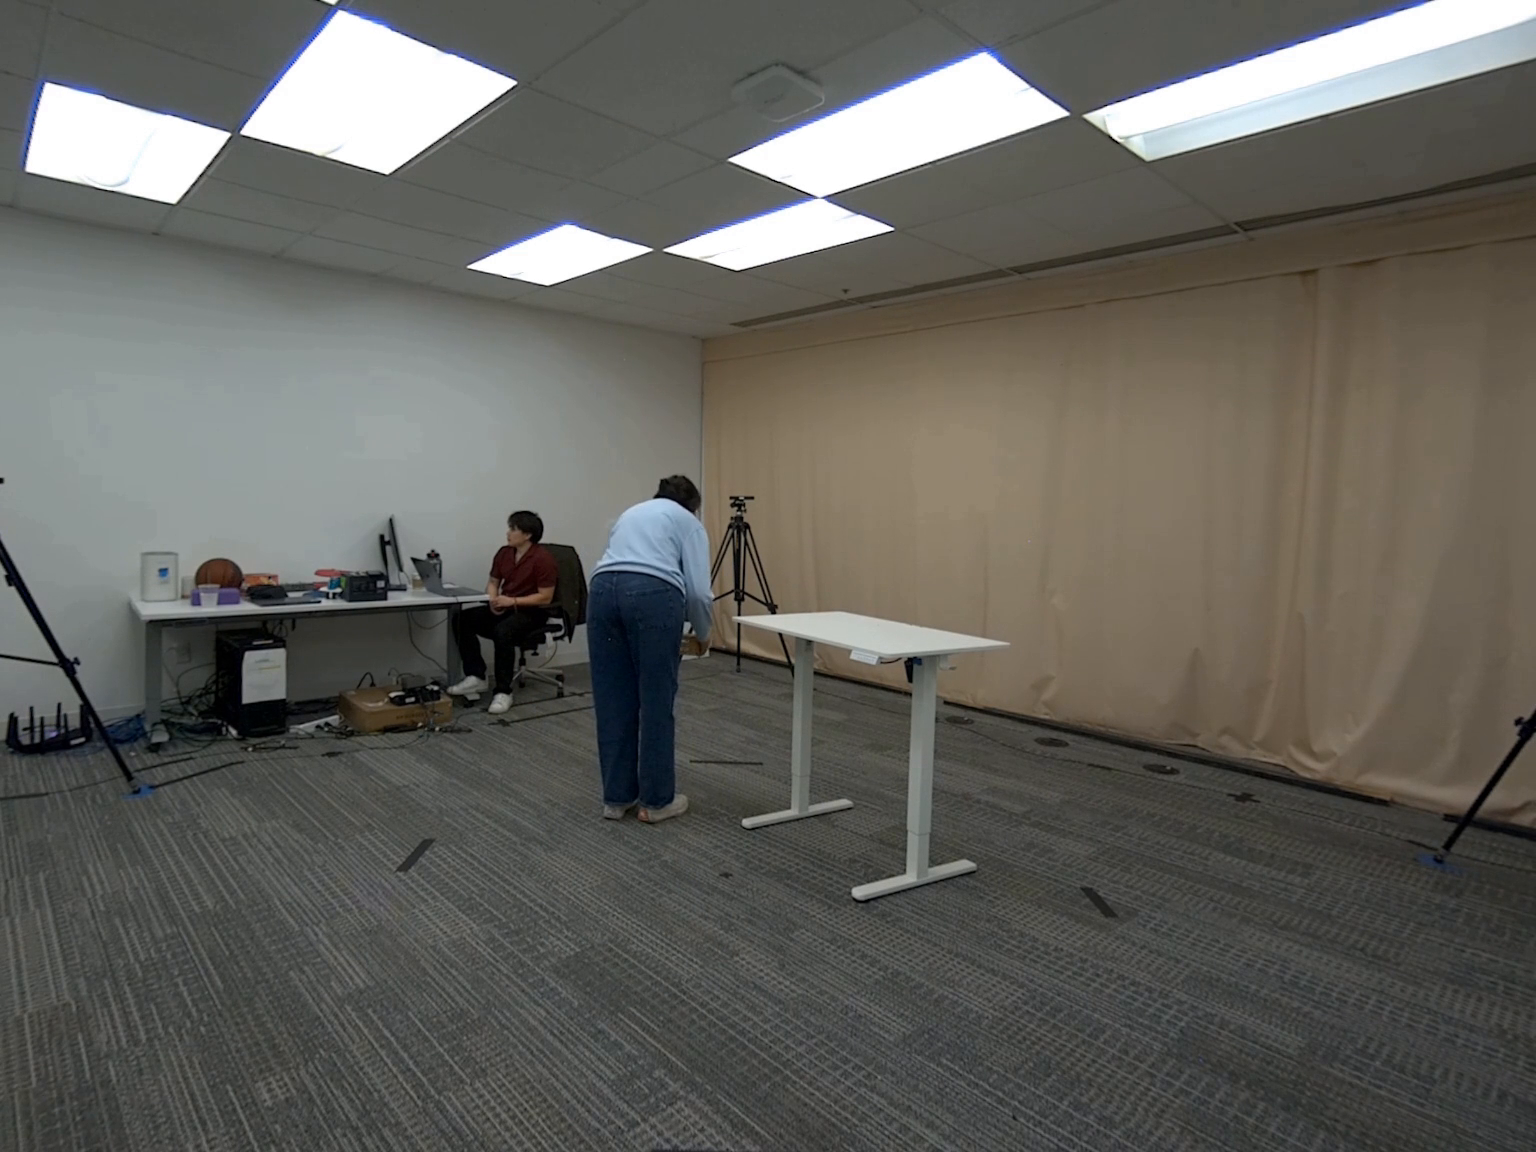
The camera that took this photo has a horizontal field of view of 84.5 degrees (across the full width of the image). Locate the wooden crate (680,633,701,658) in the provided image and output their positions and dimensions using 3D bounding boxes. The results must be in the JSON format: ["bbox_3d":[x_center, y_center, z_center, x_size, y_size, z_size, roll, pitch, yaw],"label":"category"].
[{"bbox_3d":[-0.457,0.222,3.997,0.328,0.272,0.300,3,8,13],"label":"wooden crate"}]
